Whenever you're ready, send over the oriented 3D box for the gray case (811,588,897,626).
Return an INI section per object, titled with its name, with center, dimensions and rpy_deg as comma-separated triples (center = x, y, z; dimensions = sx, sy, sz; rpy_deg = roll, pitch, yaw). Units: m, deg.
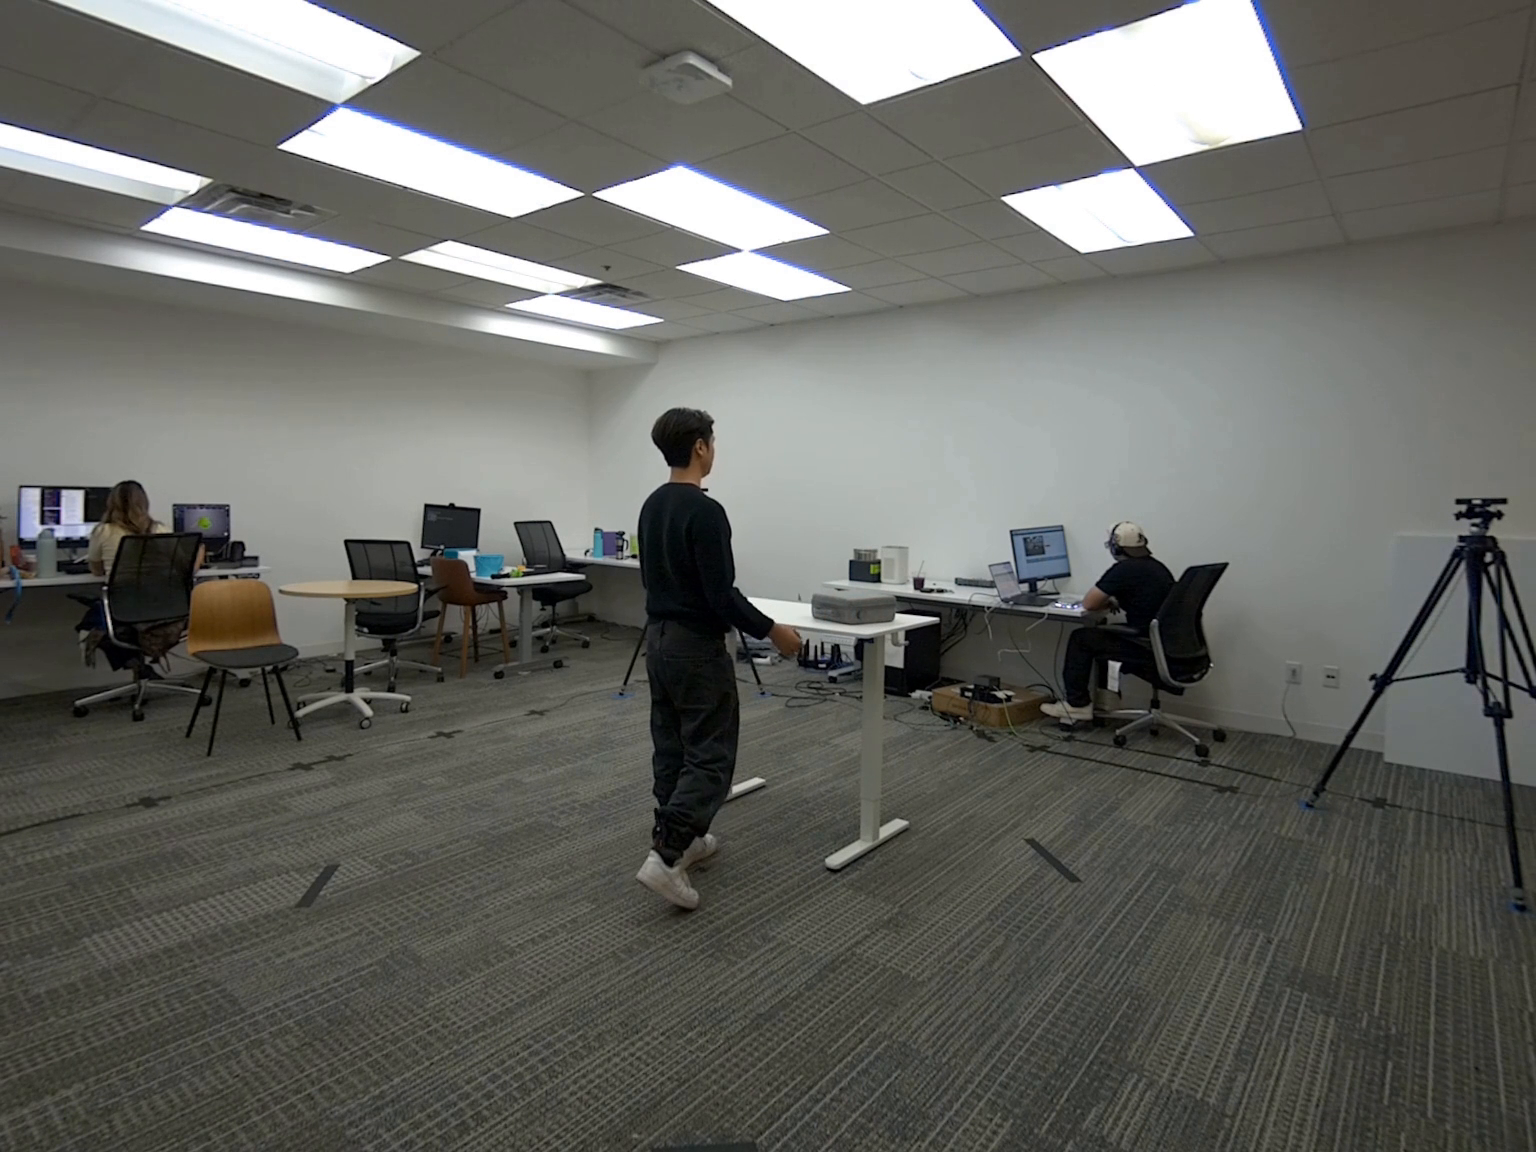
[gray case]
center = 0.332, 0.119, 3.368
dimensions = 0.253, 0.104, 0.265
rpy_deg = -3, 8, -35
